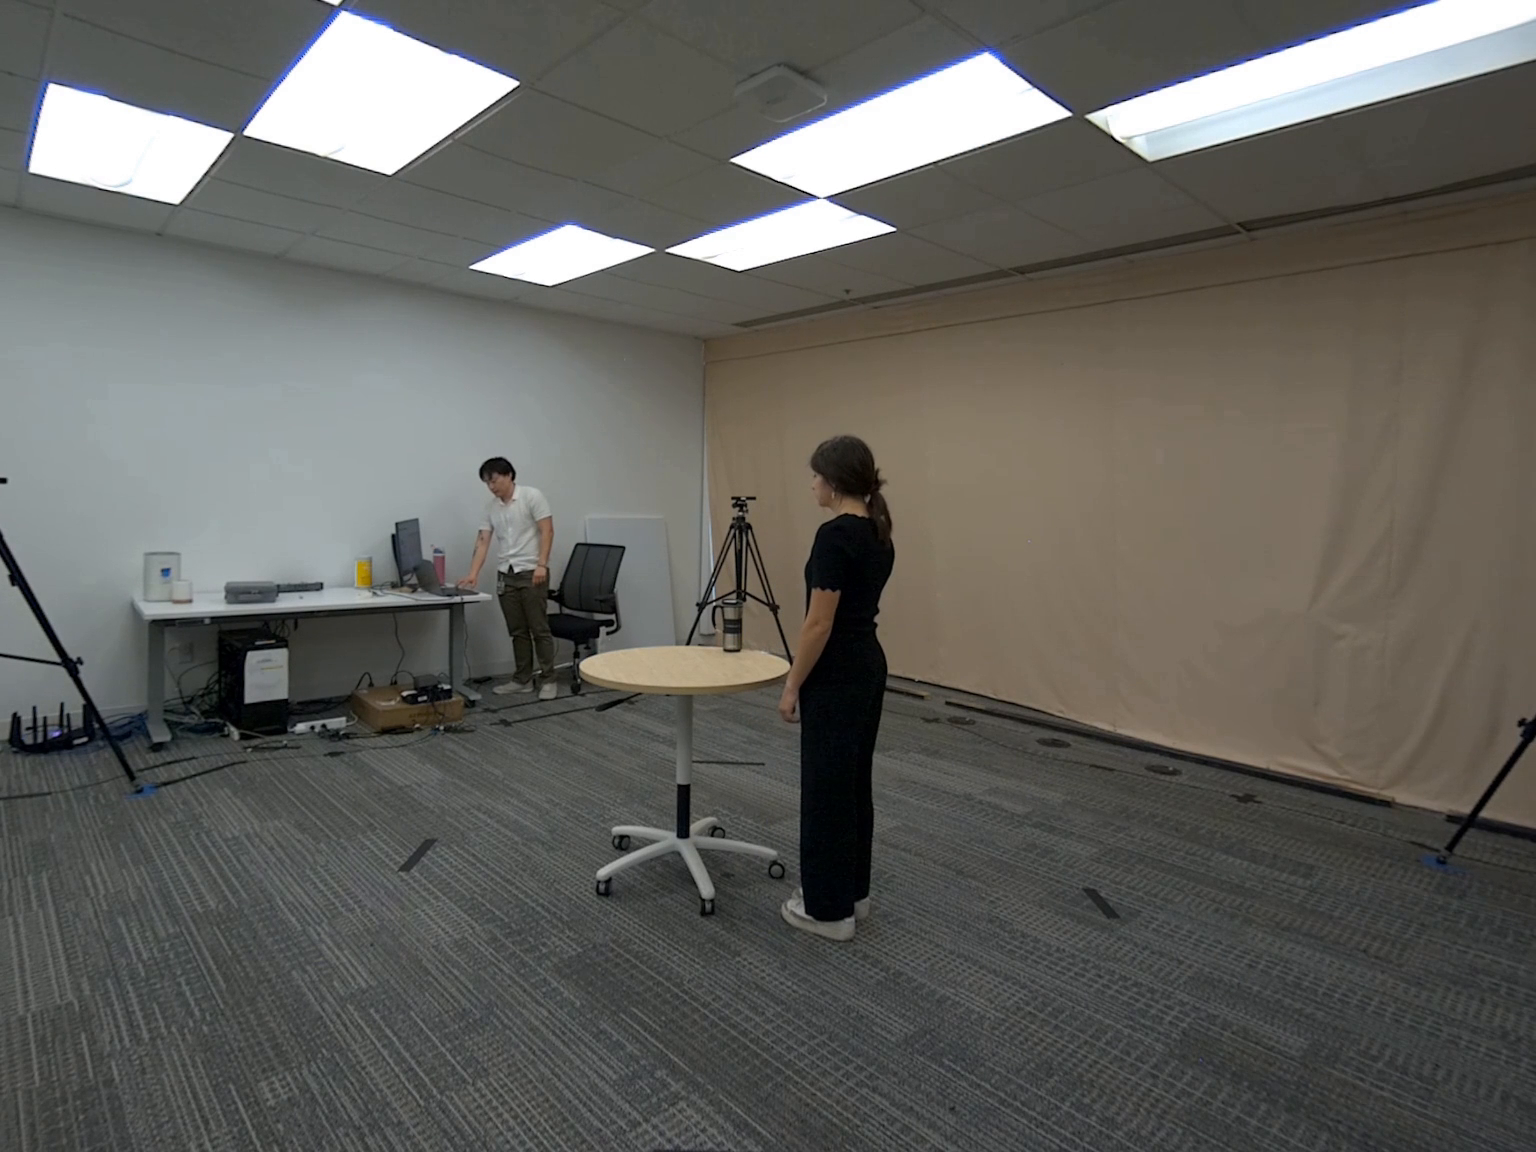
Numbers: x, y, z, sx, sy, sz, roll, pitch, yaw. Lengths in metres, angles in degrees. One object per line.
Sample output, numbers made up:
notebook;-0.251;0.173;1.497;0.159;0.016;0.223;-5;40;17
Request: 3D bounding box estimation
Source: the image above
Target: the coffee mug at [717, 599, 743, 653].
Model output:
coffee mug;-0.168;0.197;3.353;0.125;0.202;0.086;7;8;34
